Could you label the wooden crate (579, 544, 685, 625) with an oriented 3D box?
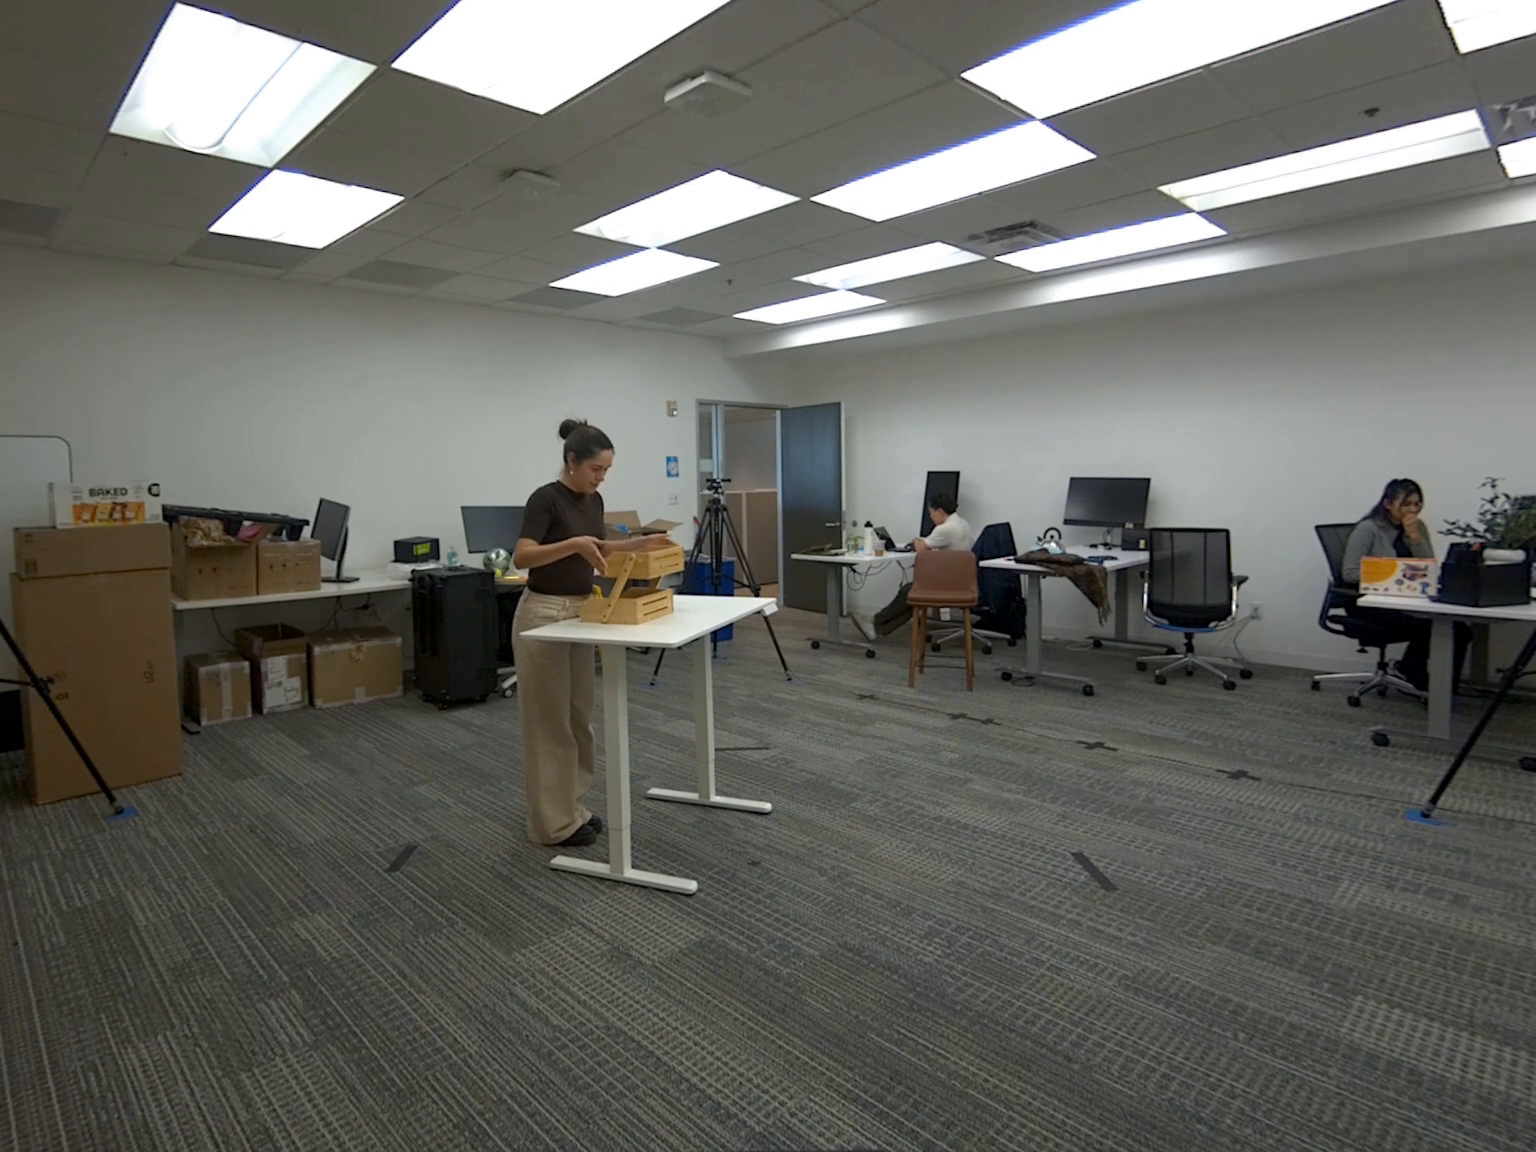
[{"bbox_3d":[-0.513,0.027,3.227,0.308,0.272,0.319,1,6,20],"label":"wooden crate"}]
